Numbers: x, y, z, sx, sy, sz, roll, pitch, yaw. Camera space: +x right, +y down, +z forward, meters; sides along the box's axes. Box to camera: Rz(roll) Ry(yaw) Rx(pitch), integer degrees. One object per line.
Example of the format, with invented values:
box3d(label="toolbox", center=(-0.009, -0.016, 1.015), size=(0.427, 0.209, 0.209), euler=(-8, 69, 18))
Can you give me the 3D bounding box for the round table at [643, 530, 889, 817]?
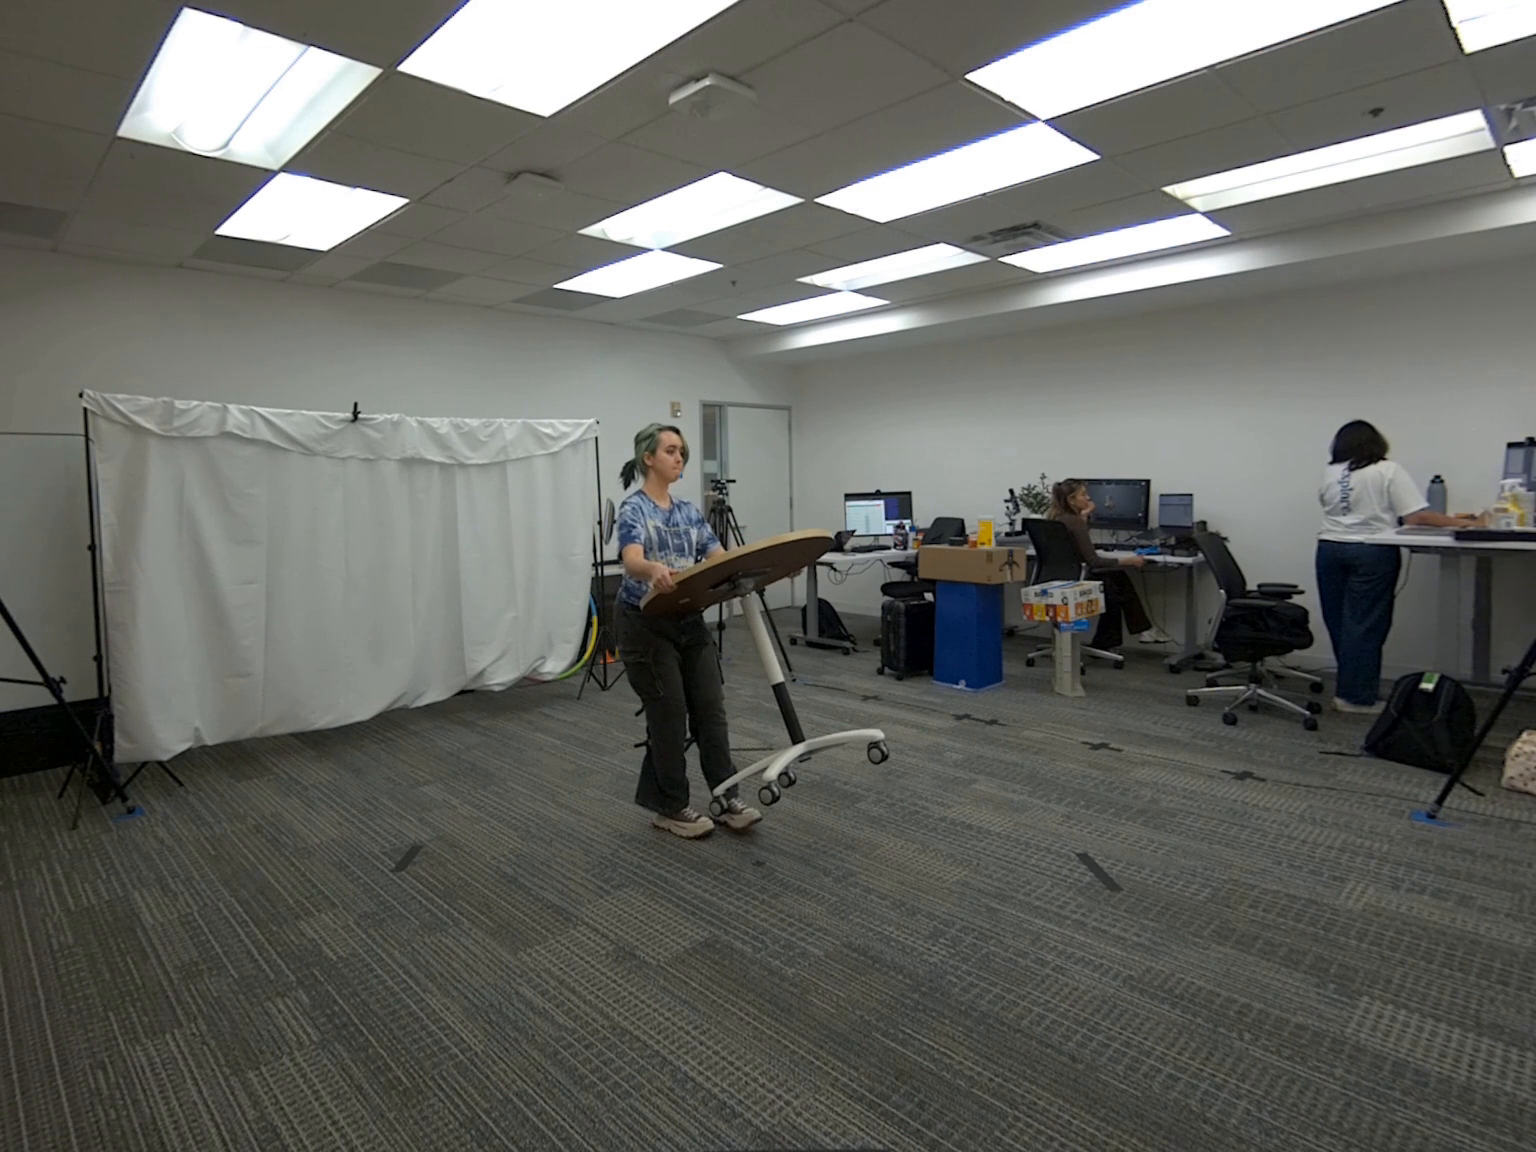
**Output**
box3d(label="round table", center=(0.029, 0.360, 3.092), size=(0.761, 0.806, 0.755), euler=(-19, -12, -6))
